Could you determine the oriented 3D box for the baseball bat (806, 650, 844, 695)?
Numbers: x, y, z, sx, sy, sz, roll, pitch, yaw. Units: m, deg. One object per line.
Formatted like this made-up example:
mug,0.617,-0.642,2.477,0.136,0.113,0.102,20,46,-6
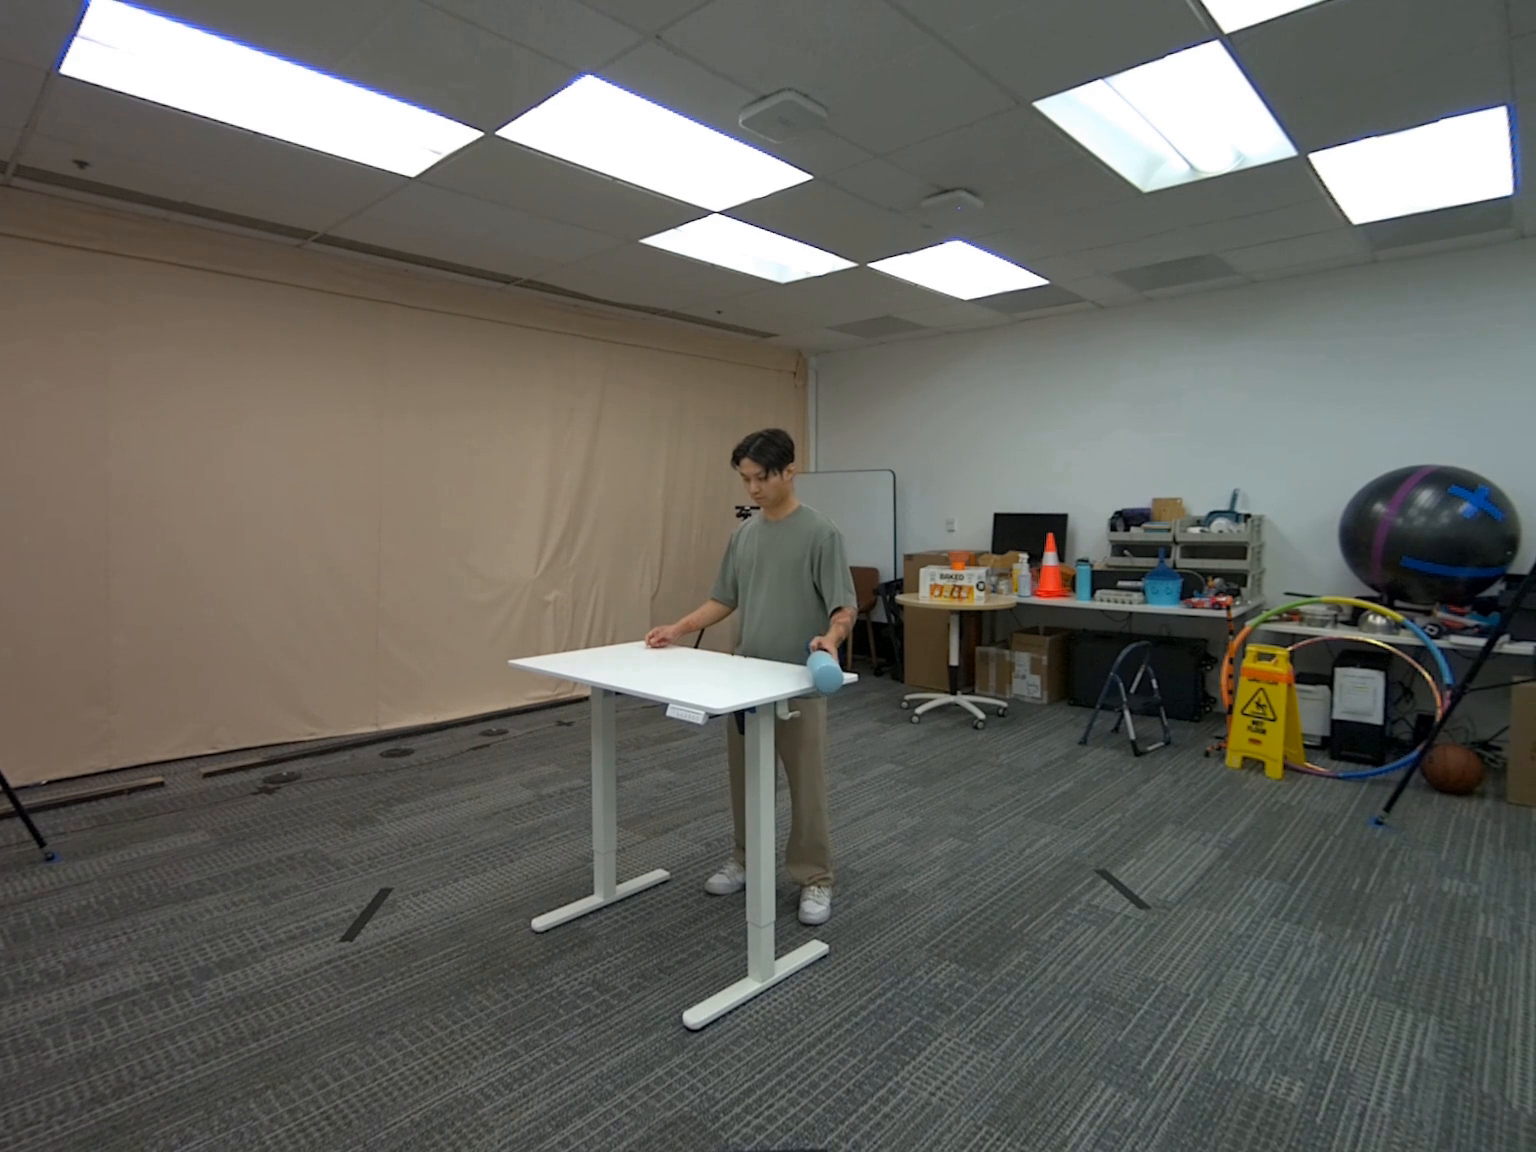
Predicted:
baseball bat,0.149,0.254,2.495,0.089,0.089,0.544,0,2,-4
